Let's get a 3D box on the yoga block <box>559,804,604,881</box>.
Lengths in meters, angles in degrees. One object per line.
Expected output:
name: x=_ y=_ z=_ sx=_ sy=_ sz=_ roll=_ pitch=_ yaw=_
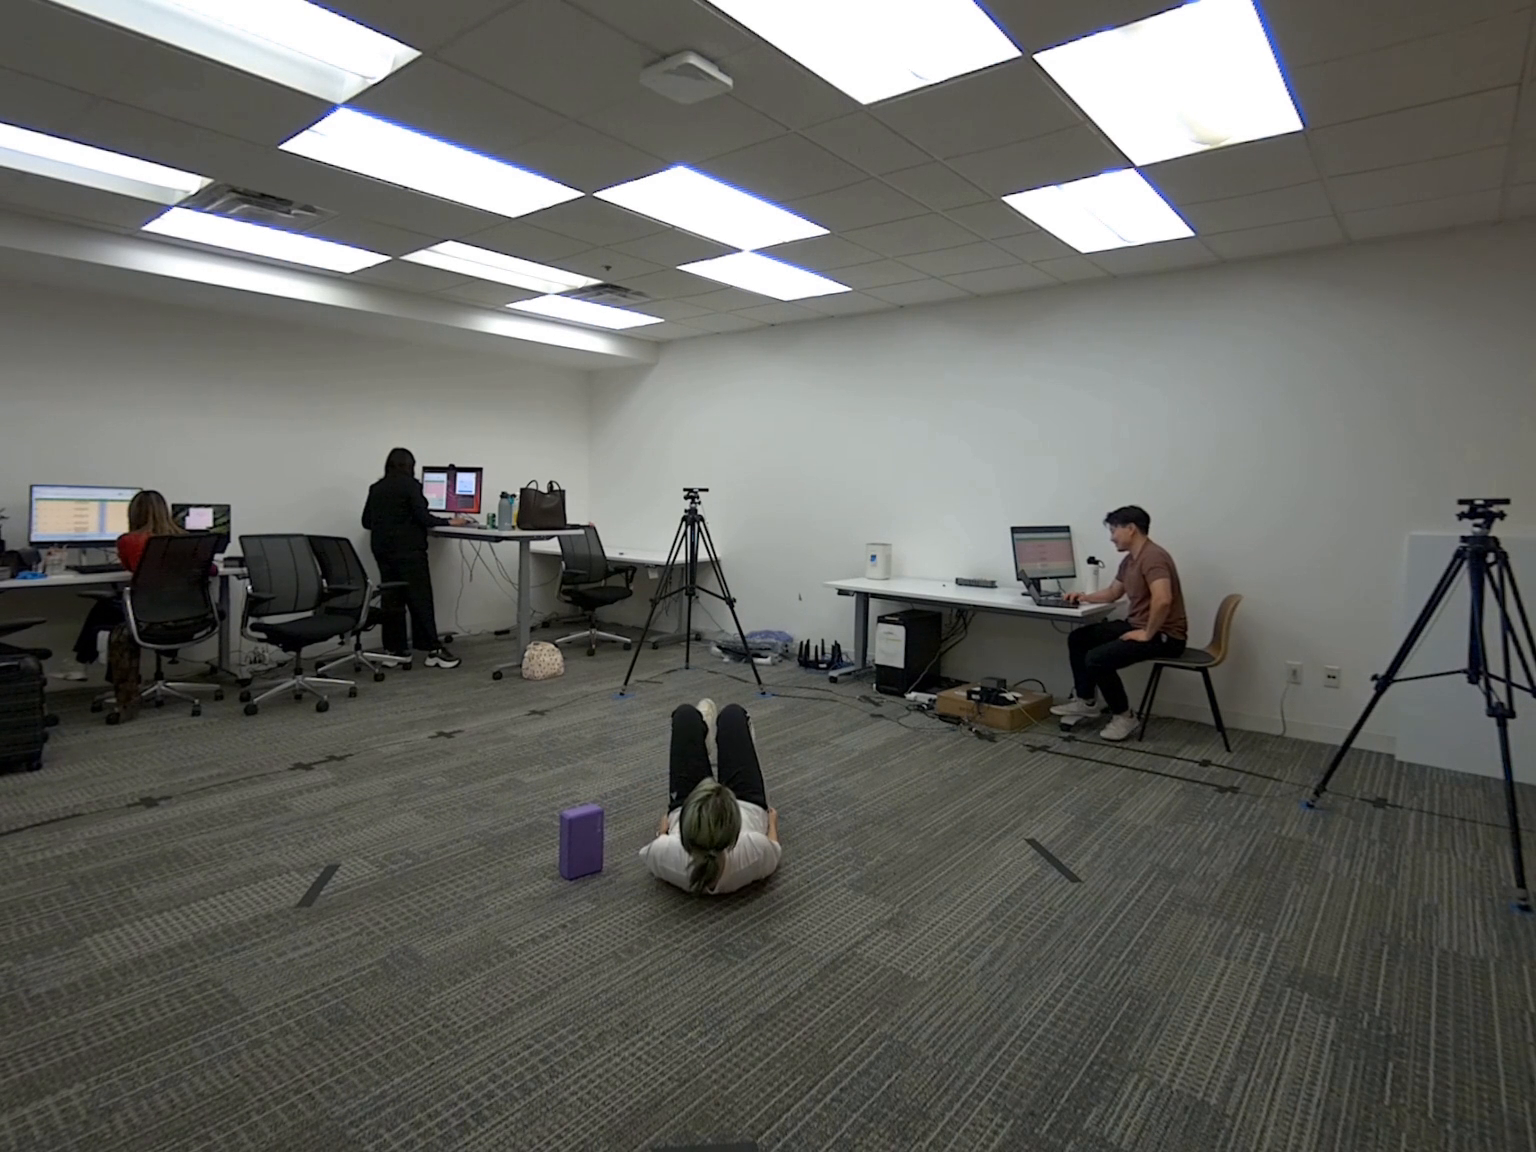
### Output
yoga block: x=-0.684 y=0.950 z=3.052 sx=0.144 sy=0.228 sz=0.079 roll=-2 pitch=6 yaw=-43
